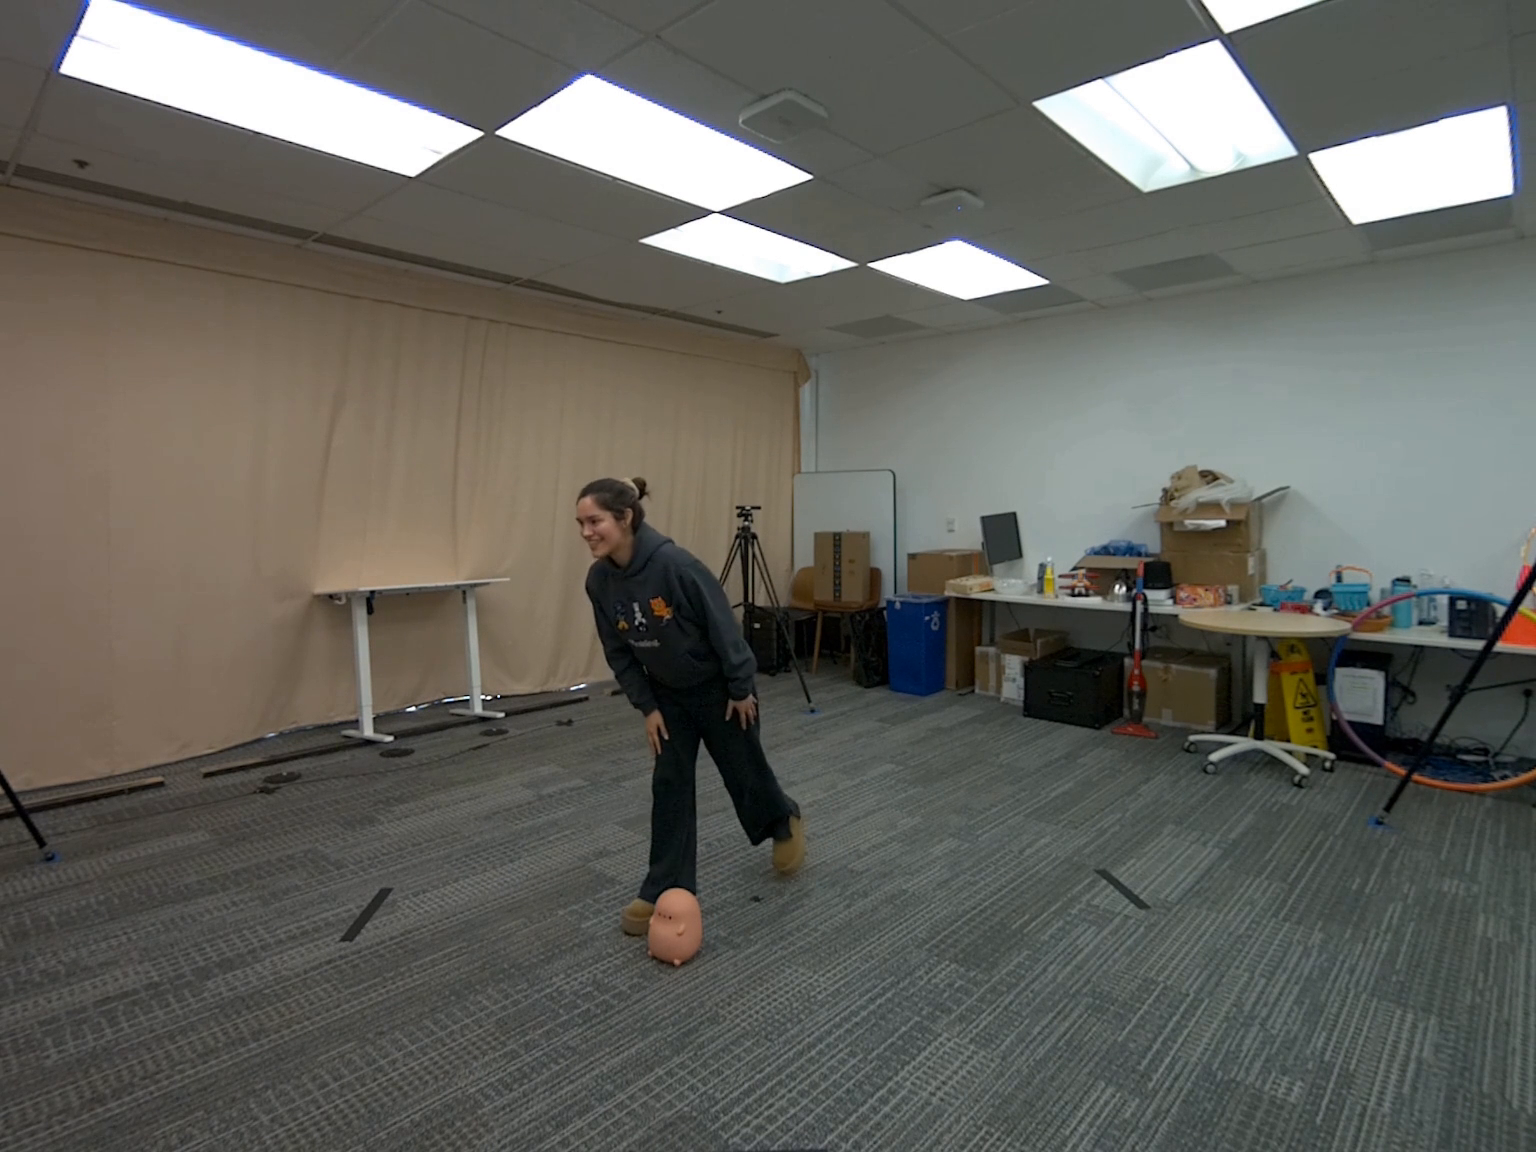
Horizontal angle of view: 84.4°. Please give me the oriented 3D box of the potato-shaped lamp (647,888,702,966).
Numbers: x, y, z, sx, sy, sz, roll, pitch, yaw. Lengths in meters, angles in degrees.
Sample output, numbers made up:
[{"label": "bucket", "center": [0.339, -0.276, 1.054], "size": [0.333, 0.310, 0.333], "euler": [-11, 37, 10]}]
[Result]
[{"label": "potato-shaped lamp", "center": [-0.268, 1.076, 2.617], "size": [0.170, 0.198, 0.166], "euler": [2, 2, 37]}]
